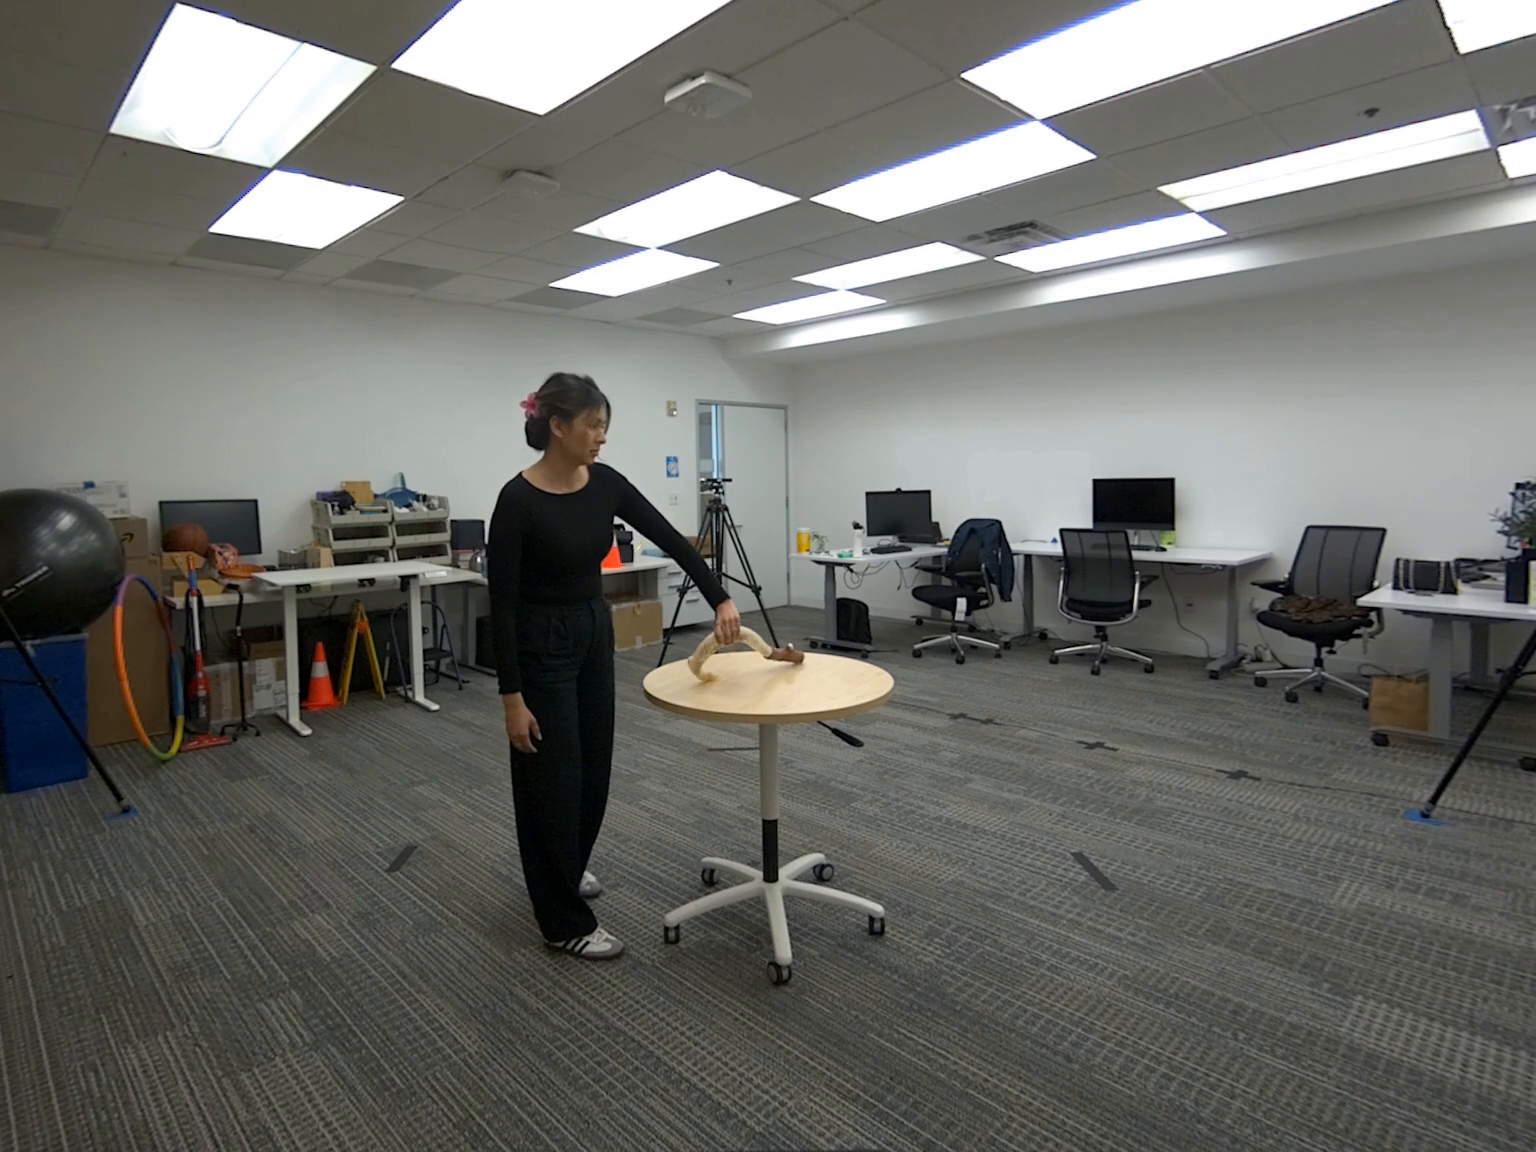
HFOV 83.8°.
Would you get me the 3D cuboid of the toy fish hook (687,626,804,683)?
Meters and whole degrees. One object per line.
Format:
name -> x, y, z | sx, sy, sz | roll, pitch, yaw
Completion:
toy fish hook -> -0.053, 0.258, 2.662 | 0.225, 0.050, 0.488 | -45, -33, 16
